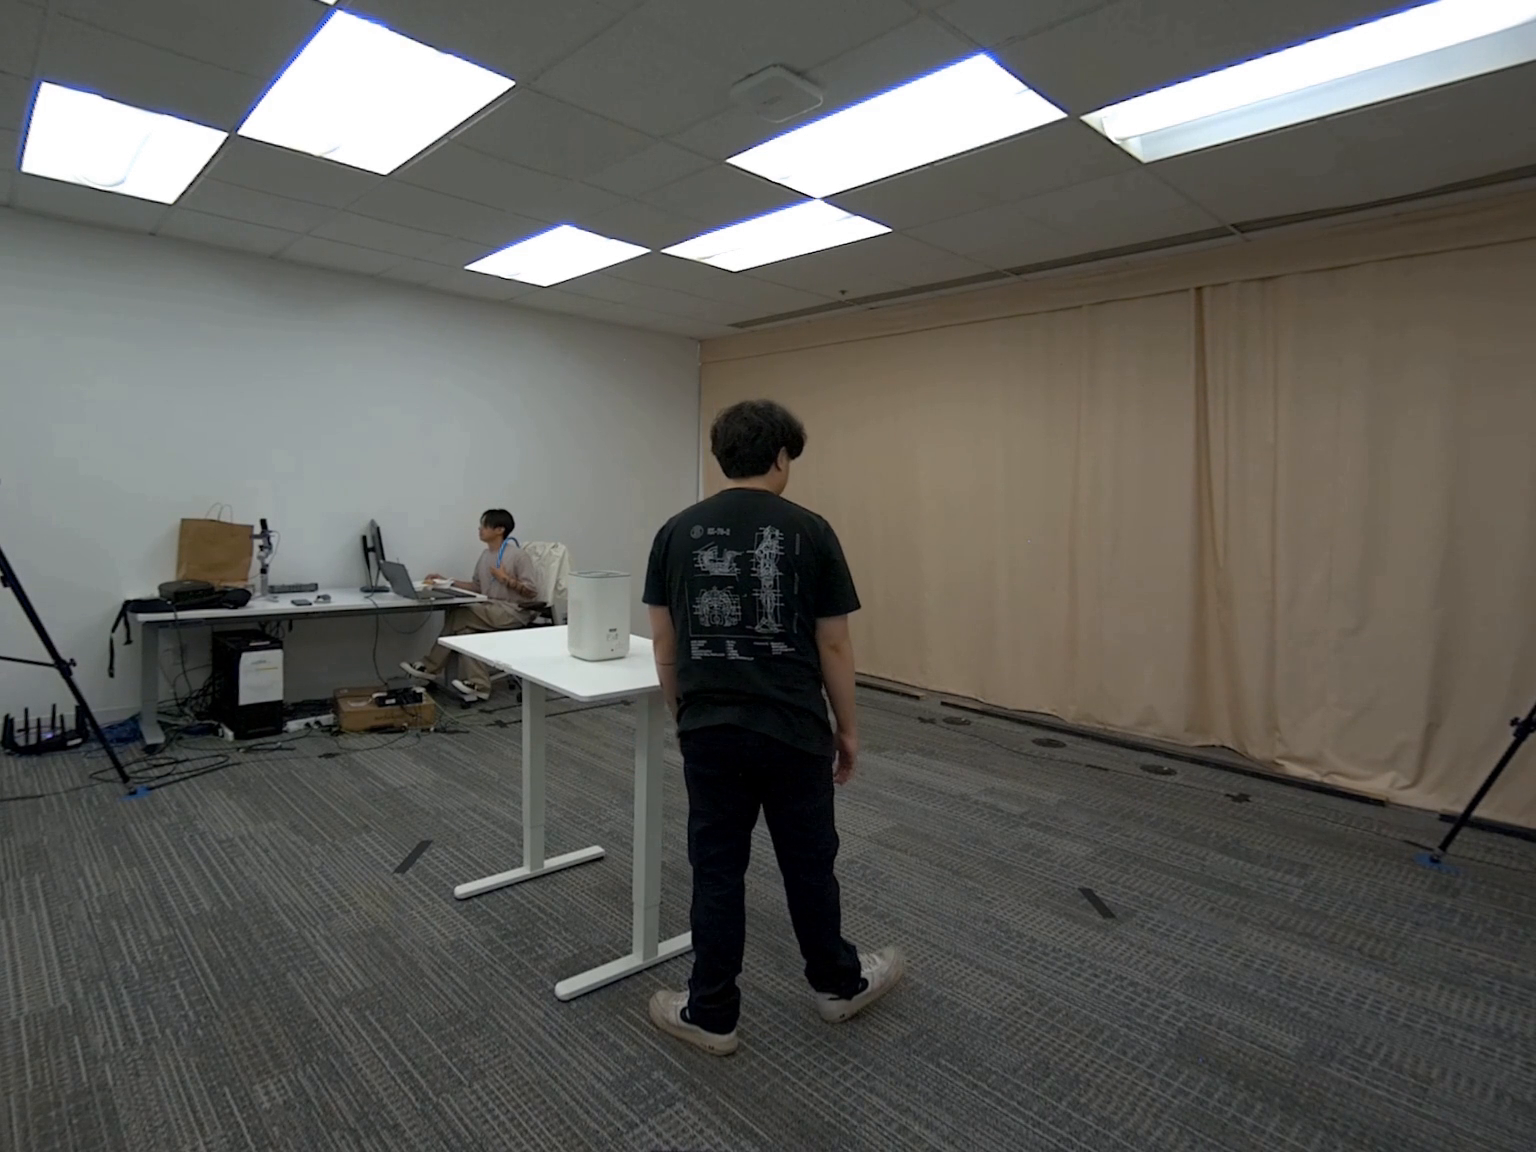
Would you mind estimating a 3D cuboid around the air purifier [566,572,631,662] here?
[{"bbox_3d":[-0.538,0.121,2.661,0.167,0.264,0.176,-4,5,-43],"label":"air purifier"}]
